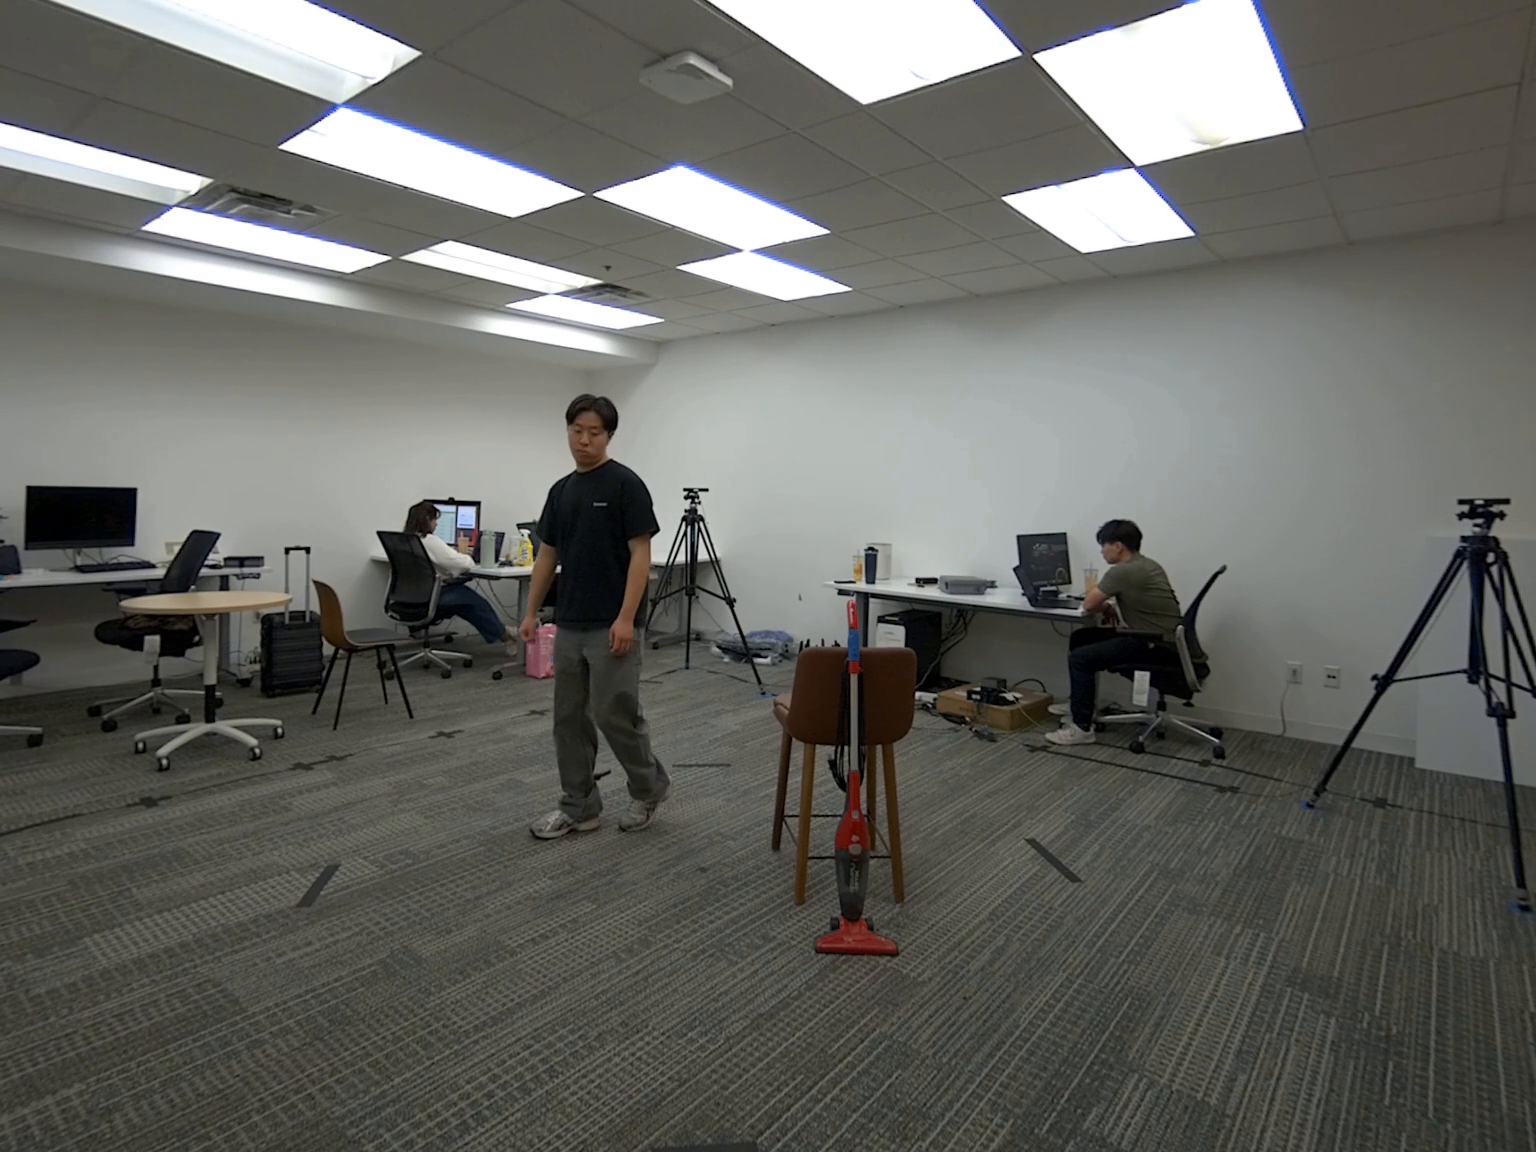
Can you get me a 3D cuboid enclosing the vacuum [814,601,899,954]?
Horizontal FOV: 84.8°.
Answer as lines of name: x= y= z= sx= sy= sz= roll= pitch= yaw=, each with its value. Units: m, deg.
vacuum: x=0.263 y=0.607 z=2.711 sx=0.251 sy=1.059 sz=0.143 roll=1 pitch=-9 yaw=-5
